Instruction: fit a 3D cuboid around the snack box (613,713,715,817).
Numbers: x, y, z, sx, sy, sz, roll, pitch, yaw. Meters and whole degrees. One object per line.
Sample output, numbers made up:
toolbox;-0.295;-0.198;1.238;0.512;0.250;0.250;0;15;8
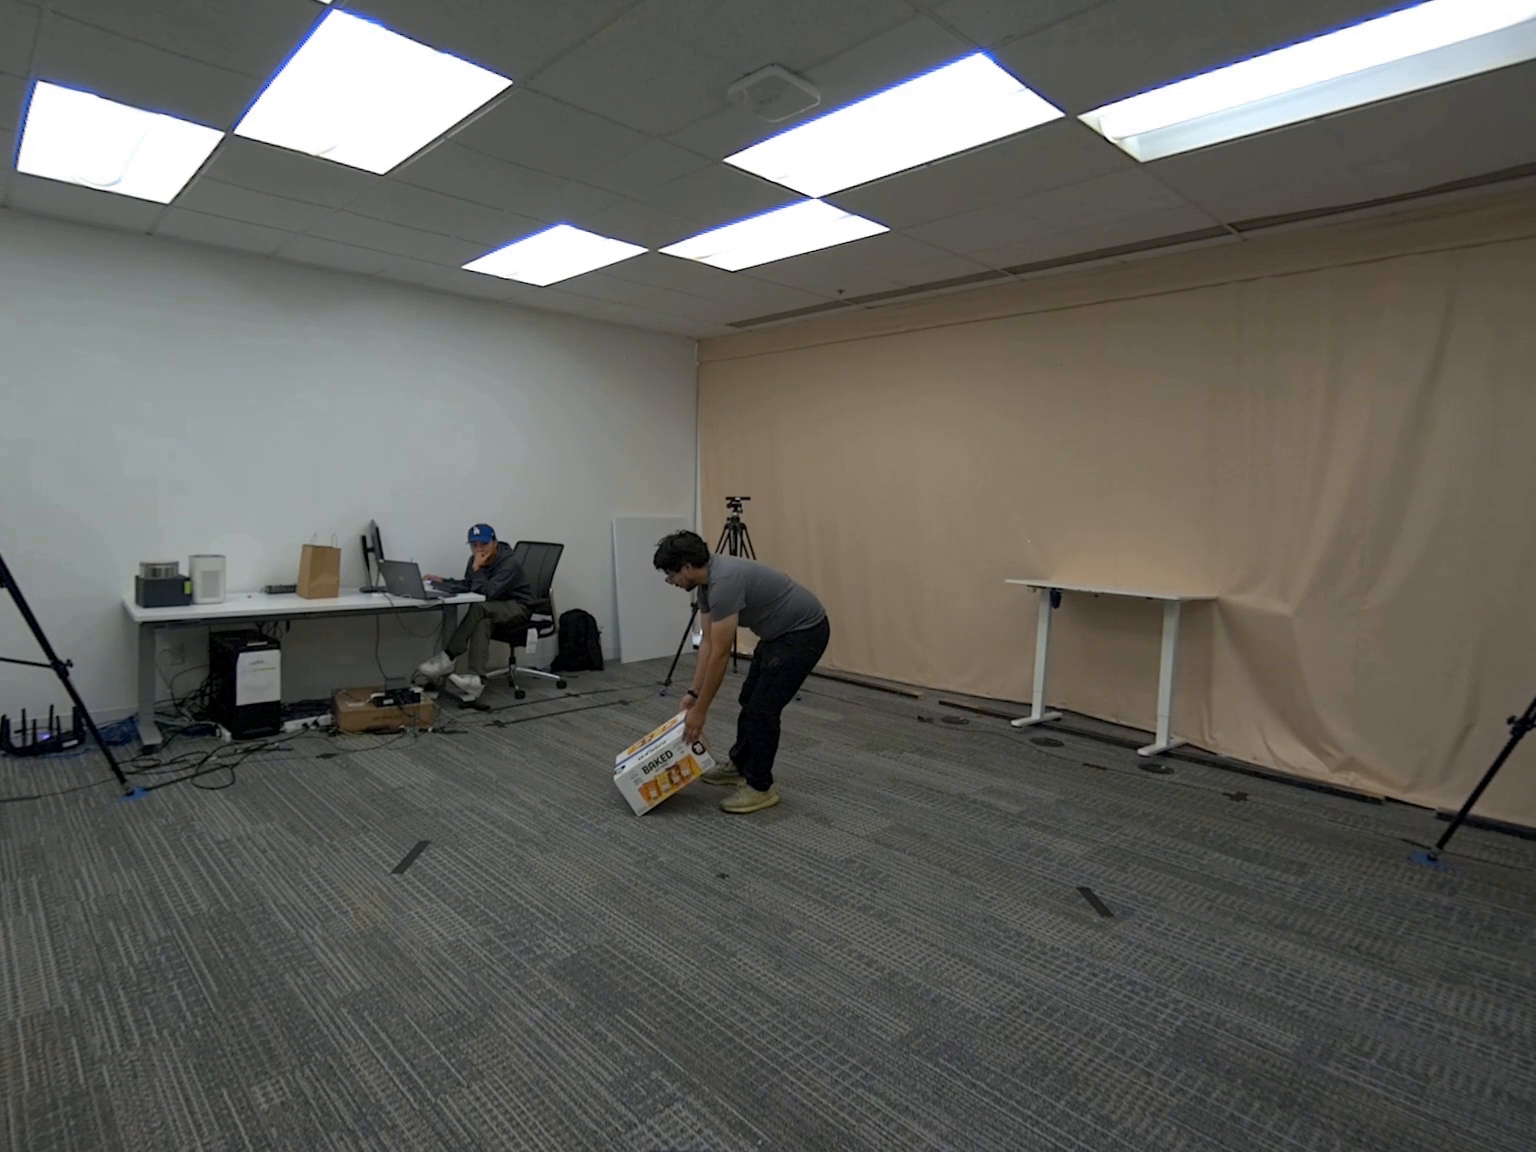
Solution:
snack box;-0.479;0.840;3.833;0.405;0.204;0.343;-35;8;-4
